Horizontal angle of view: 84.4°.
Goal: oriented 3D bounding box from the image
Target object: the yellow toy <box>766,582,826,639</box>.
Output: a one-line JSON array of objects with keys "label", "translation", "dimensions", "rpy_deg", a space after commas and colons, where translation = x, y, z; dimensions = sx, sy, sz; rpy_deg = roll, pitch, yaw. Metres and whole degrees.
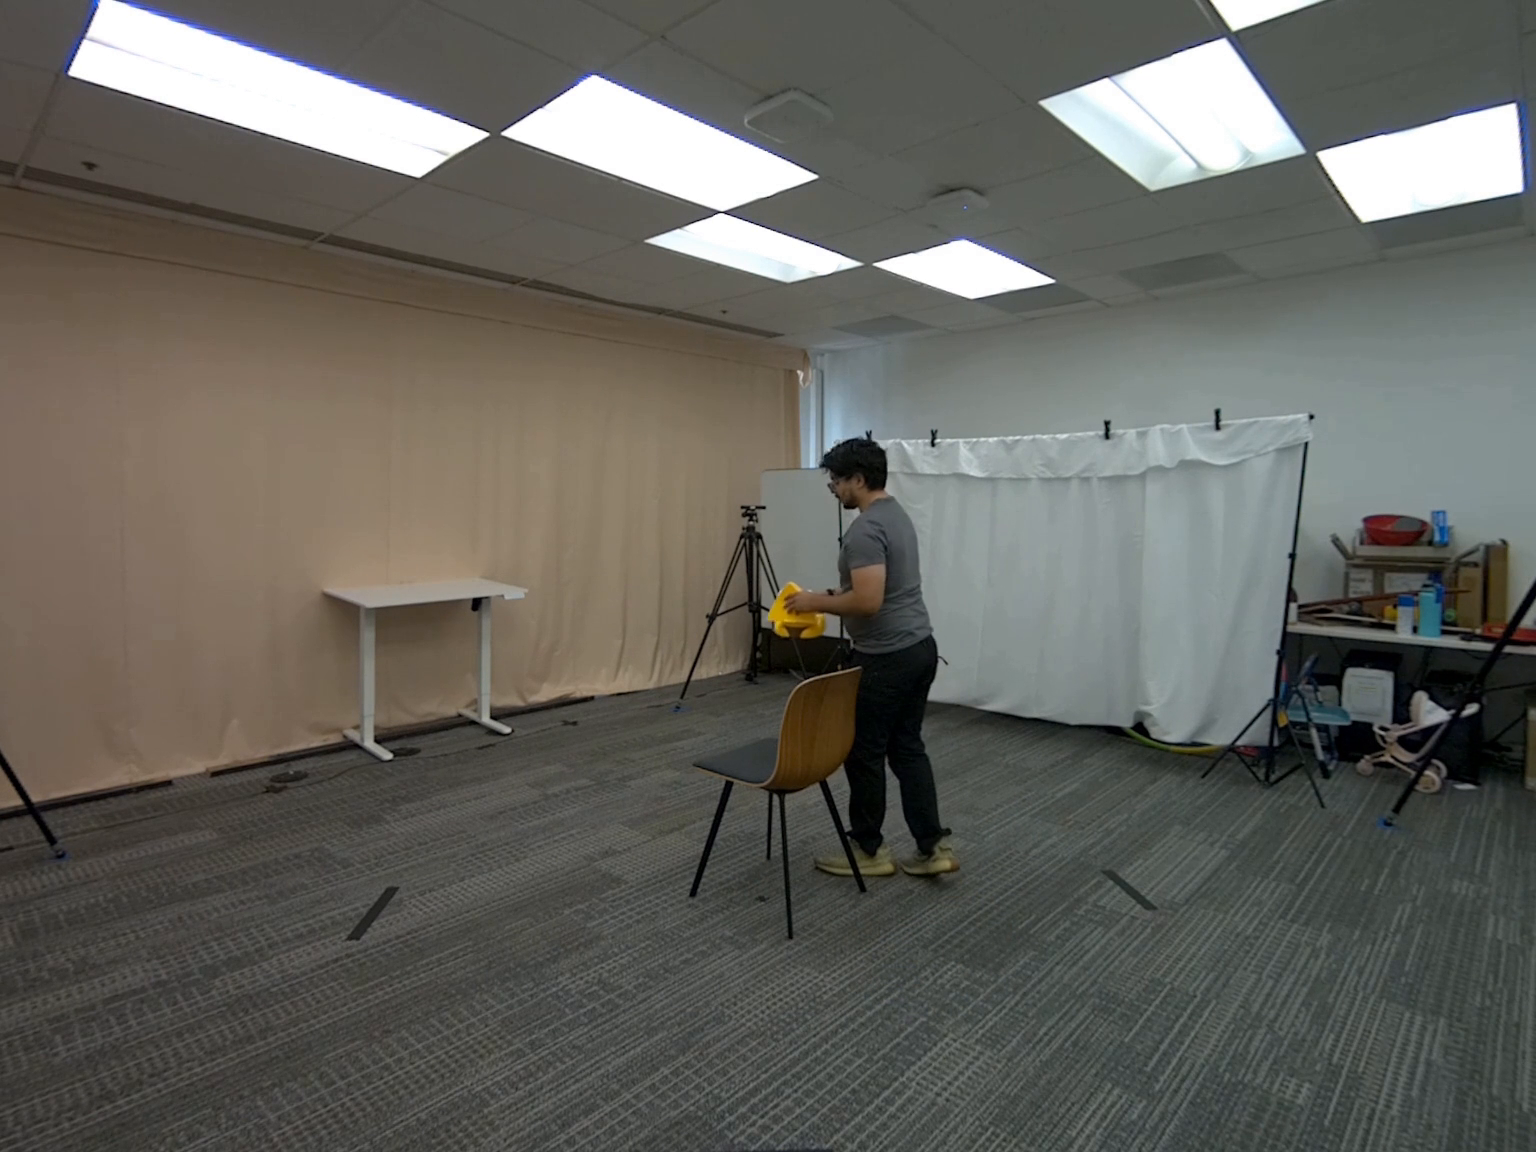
[{"label": "yellow toy", "translation": [0.121, 0.105, 3.263], "dimensions": [0.210, 0.227, 0.191], "rpy_deg": [2, 24, 22]}]
